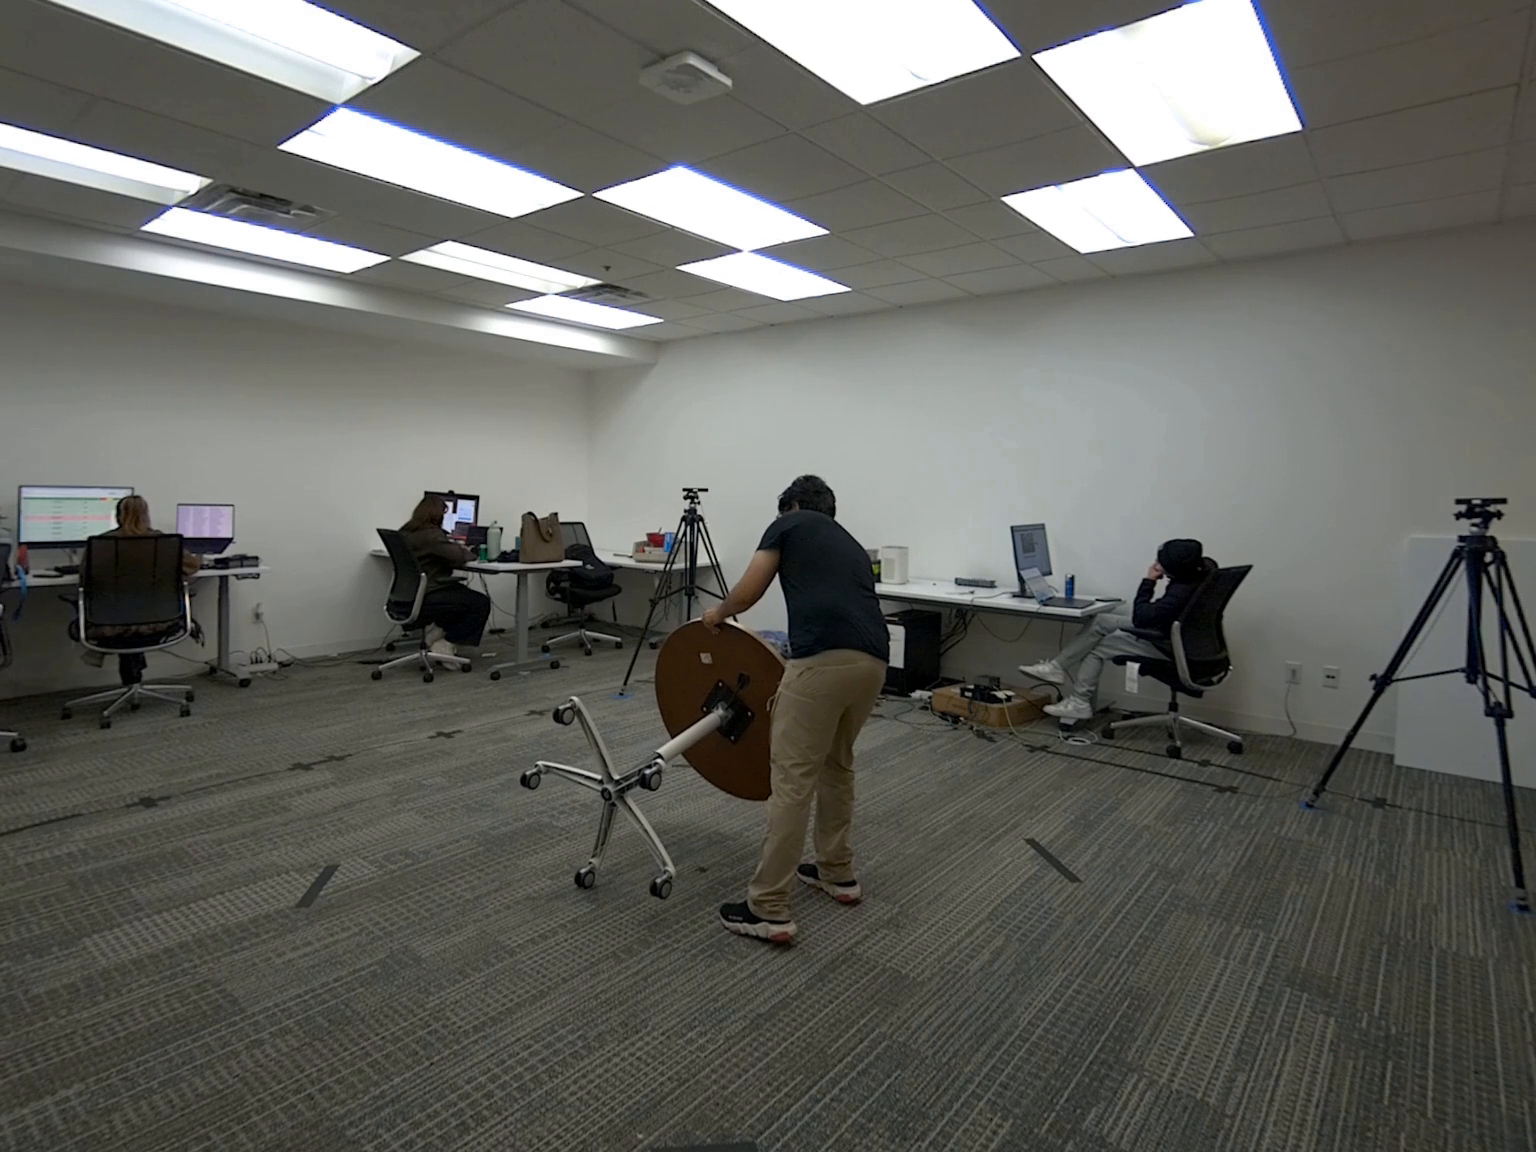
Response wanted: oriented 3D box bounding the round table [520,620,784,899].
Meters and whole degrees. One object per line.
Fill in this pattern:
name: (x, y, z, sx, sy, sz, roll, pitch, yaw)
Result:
round table: (-0.384, 0.635, 3.081, 0.811, 0.774, 0.773, 4, 18, 37)
